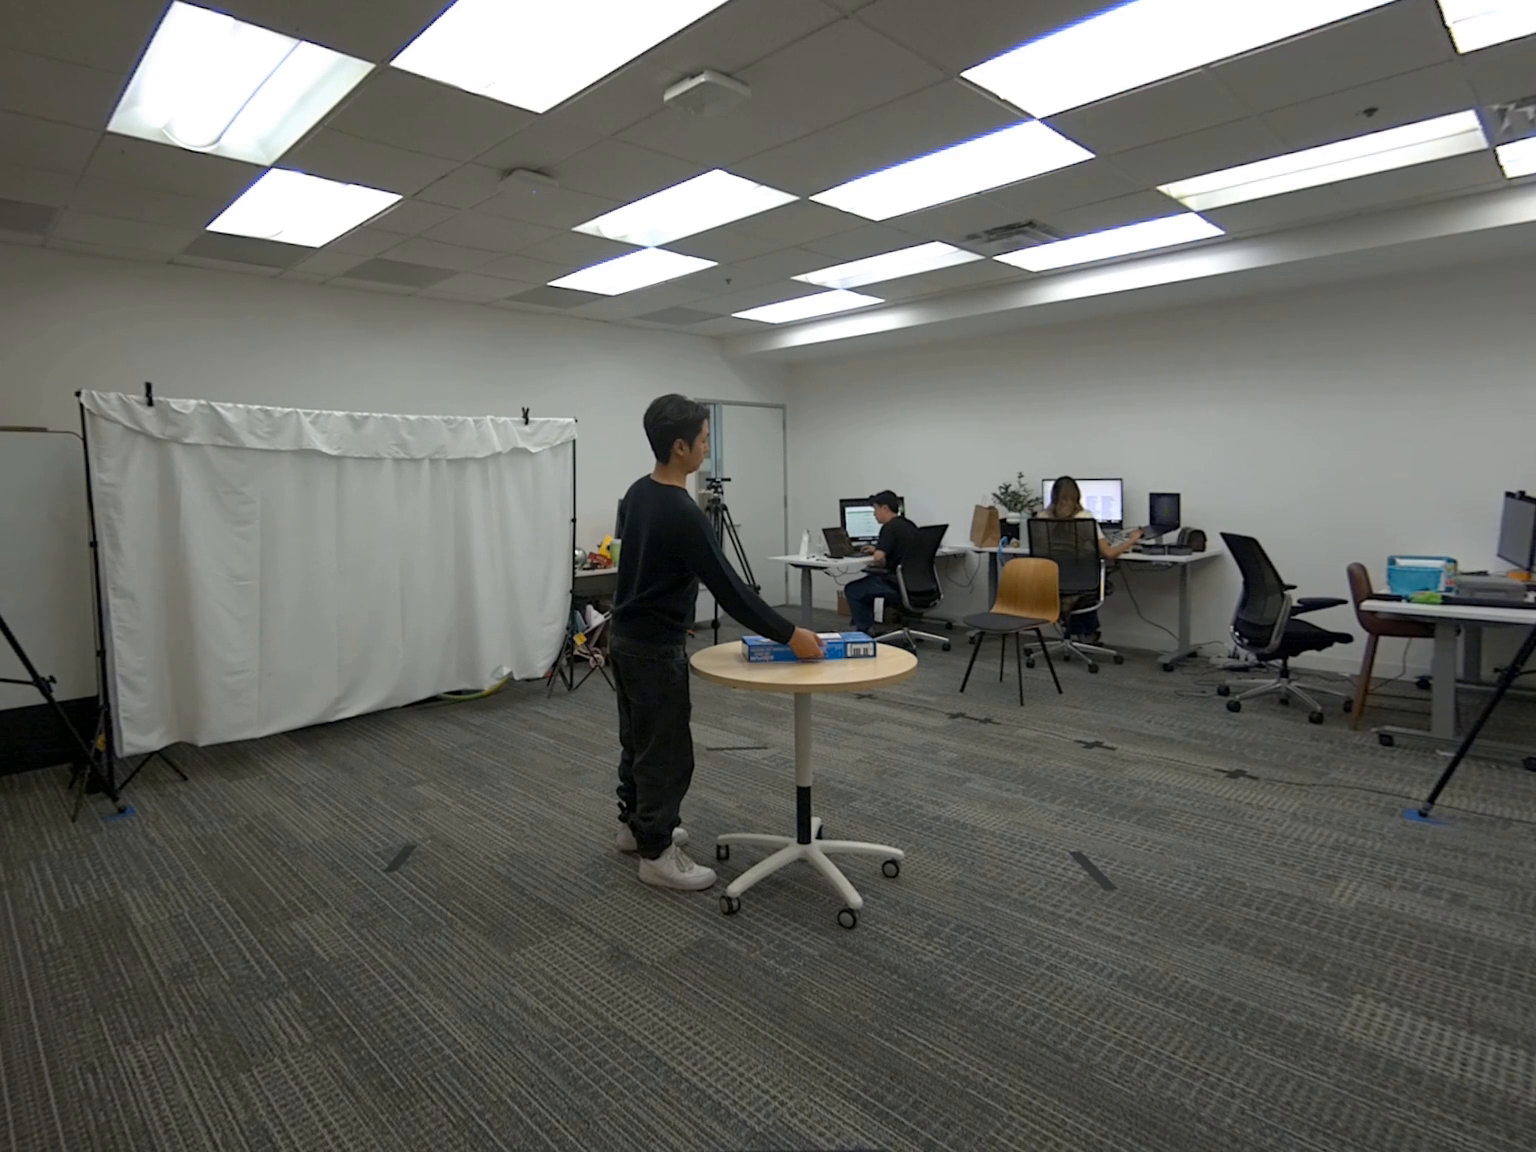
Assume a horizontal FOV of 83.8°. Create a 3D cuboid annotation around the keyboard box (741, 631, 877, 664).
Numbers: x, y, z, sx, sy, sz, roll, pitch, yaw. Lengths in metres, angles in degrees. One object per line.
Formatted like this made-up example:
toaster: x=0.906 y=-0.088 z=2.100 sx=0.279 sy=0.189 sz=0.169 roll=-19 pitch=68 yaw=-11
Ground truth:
keyboard box: x=0.139 y=0.242 z=2.947 sx=0.434 sy=0.059 sz=0.178 roll=-1 pitch=5 yaw=-7
